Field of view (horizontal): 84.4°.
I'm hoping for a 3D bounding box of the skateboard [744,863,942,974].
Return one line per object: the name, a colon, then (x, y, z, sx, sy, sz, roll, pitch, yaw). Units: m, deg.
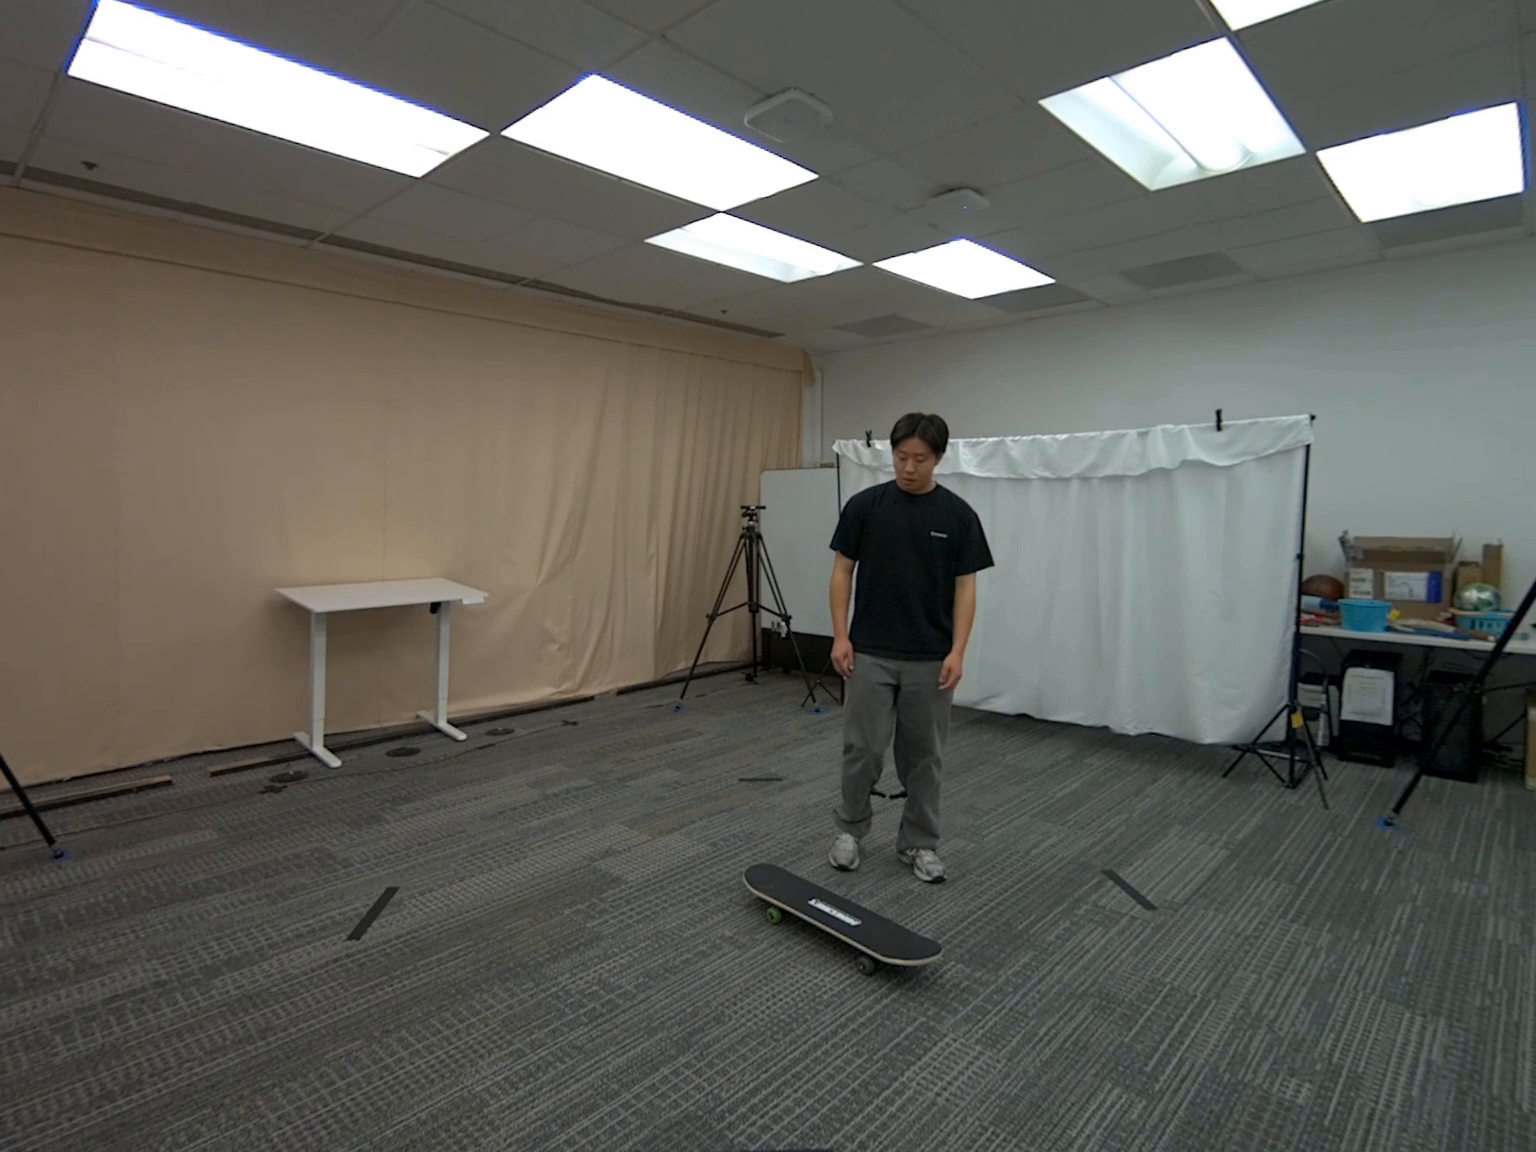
skateboard: (0.219, 1.108, 2.704, 0.187, 0.110, 0.812, -3, 5, -41)
